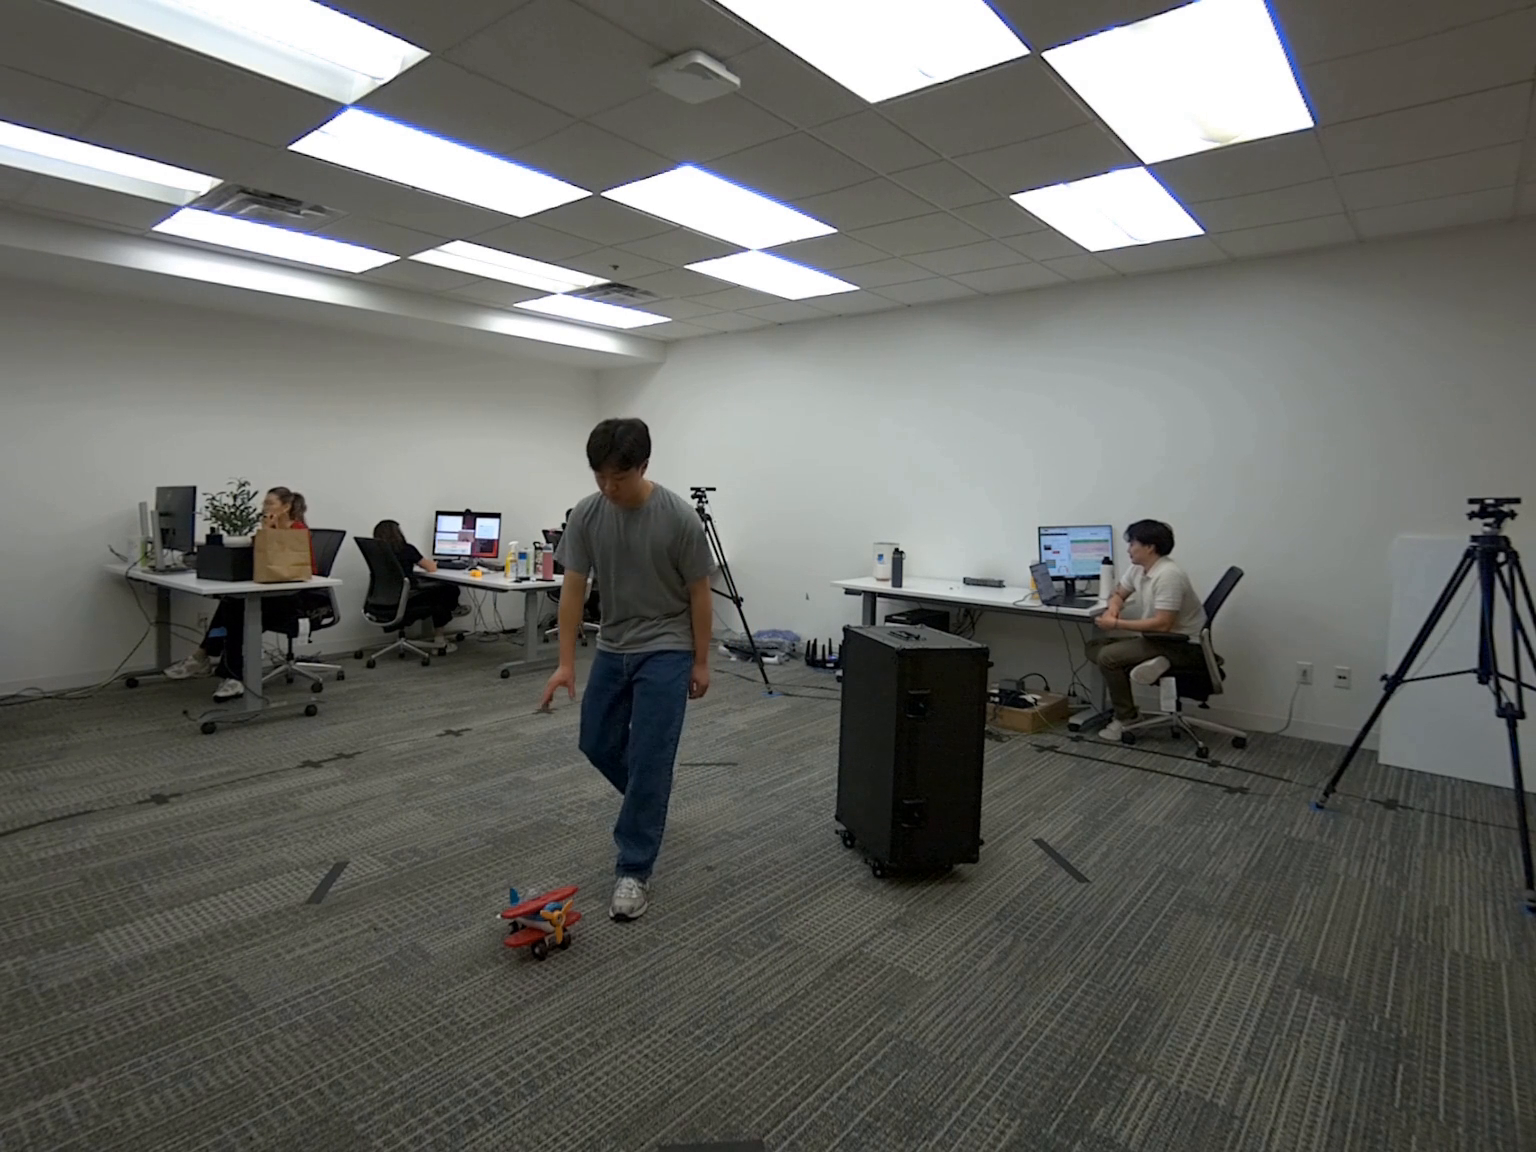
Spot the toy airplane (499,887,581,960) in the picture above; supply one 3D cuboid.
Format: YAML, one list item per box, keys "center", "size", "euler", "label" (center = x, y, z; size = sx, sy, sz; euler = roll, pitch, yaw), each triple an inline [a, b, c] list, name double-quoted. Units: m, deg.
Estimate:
- center: [-0.727, 1.038, 2.568]
  size: [0.263, 0.156, 0.248]
  euler: [3, 5, 14]
  label: "toy airplane"
